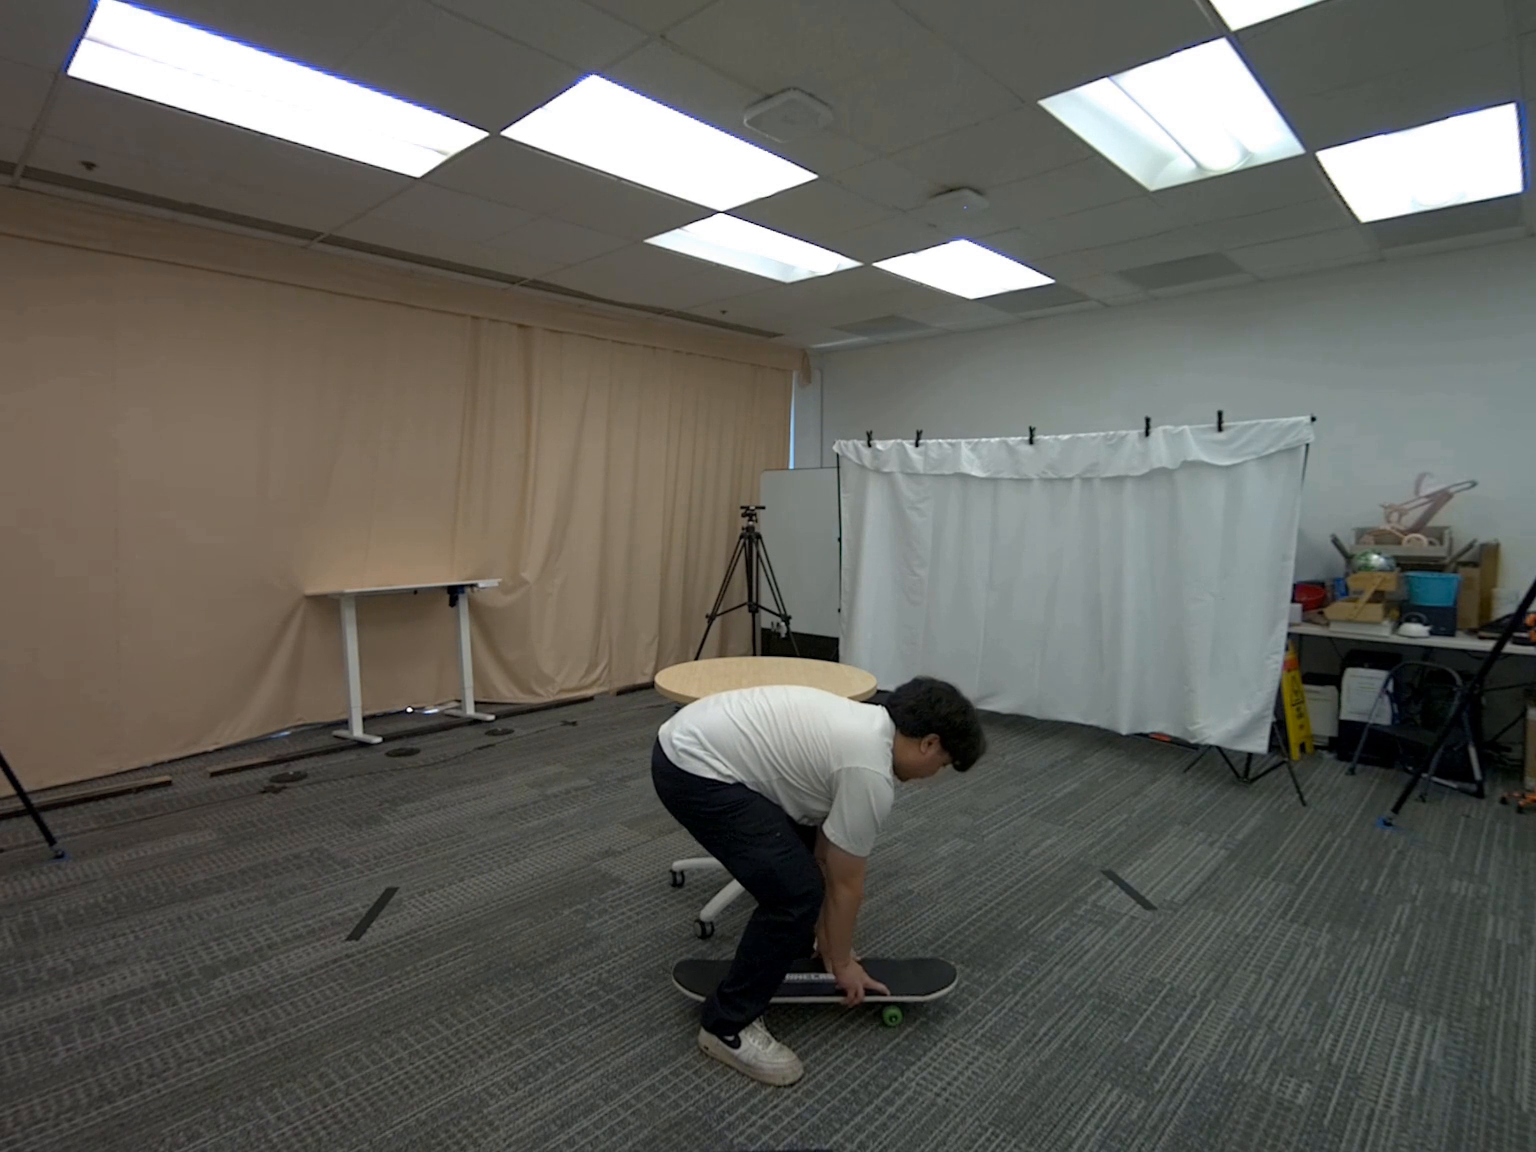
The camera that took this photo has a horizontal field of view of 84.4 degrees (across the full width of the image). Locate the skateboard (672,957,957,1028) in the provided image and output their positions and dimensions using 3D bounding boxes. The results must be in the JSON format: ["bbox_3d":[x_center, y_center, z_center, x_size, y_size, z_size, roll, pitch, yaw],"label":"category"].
[{"bbox_3d":[0.131,1.141,2.331,0.784,0.110,0.194,0,4,-1],"label":"skateboard"}]
